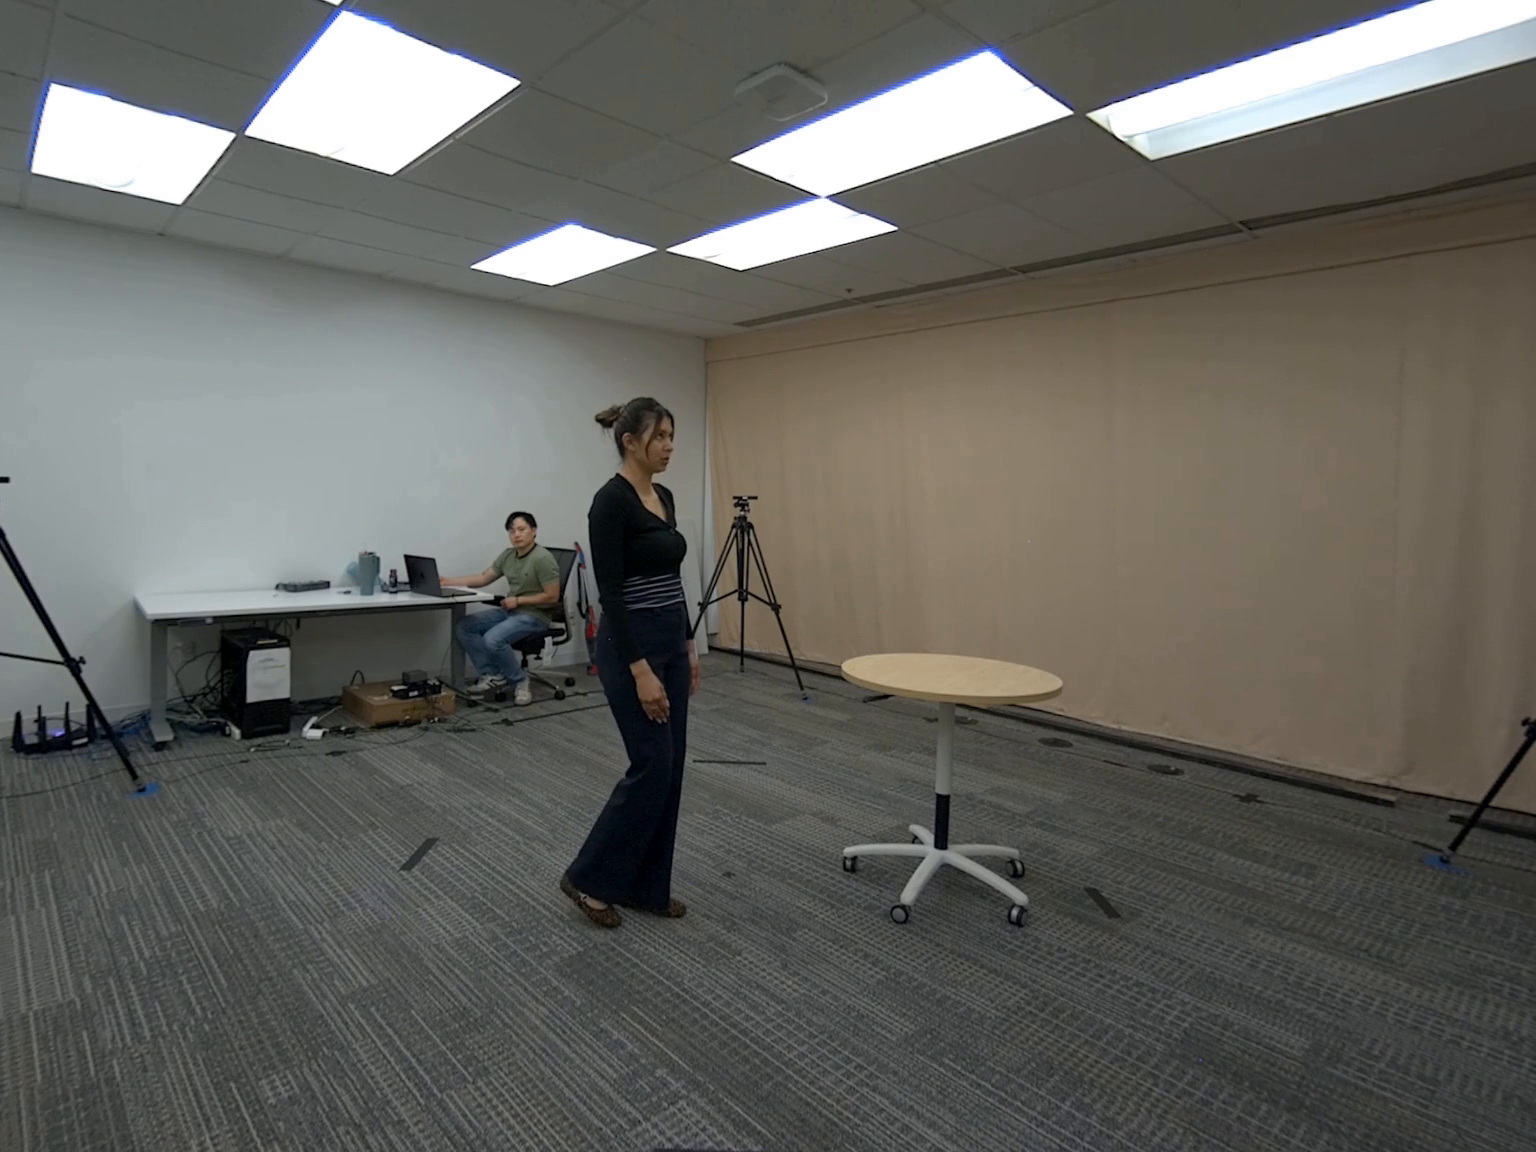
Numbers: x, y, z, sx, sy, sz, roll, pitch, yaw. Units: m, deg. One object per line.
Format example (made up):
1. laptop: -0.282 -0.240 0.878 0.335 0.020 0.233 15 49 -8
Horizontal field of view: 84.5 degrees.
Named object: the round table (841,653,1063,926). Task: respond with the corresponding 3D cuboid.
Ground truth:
1. round table: 0.623 0.738 3.037 0.763 0.792 0.766 2 4 -1
